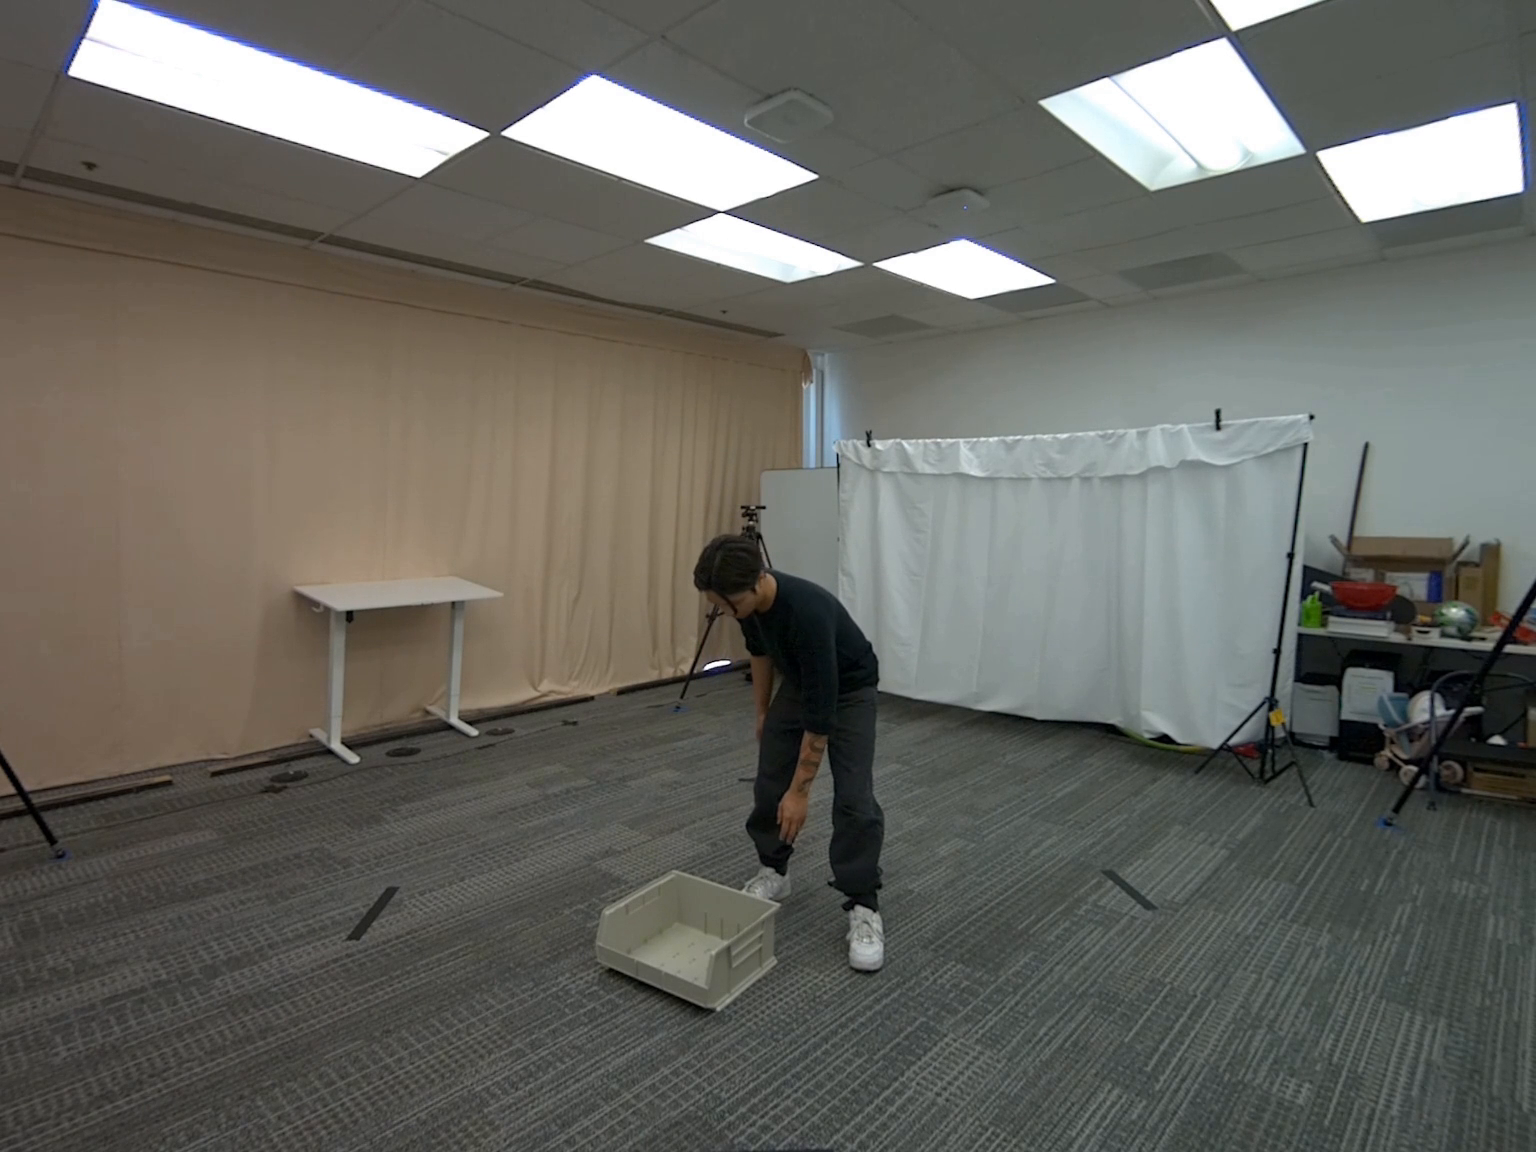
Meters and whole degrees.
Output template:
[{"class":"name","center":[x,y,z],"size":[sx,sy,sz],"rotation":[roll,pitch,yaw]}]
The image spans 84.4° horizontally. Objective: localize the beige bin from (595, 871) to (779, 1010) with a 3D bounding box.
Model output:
[{"class":"beige bin","center":[-0.237,1.096,2.537],"size":[0.435,0.188,0.366],"rotation":[3,4,34]}]
